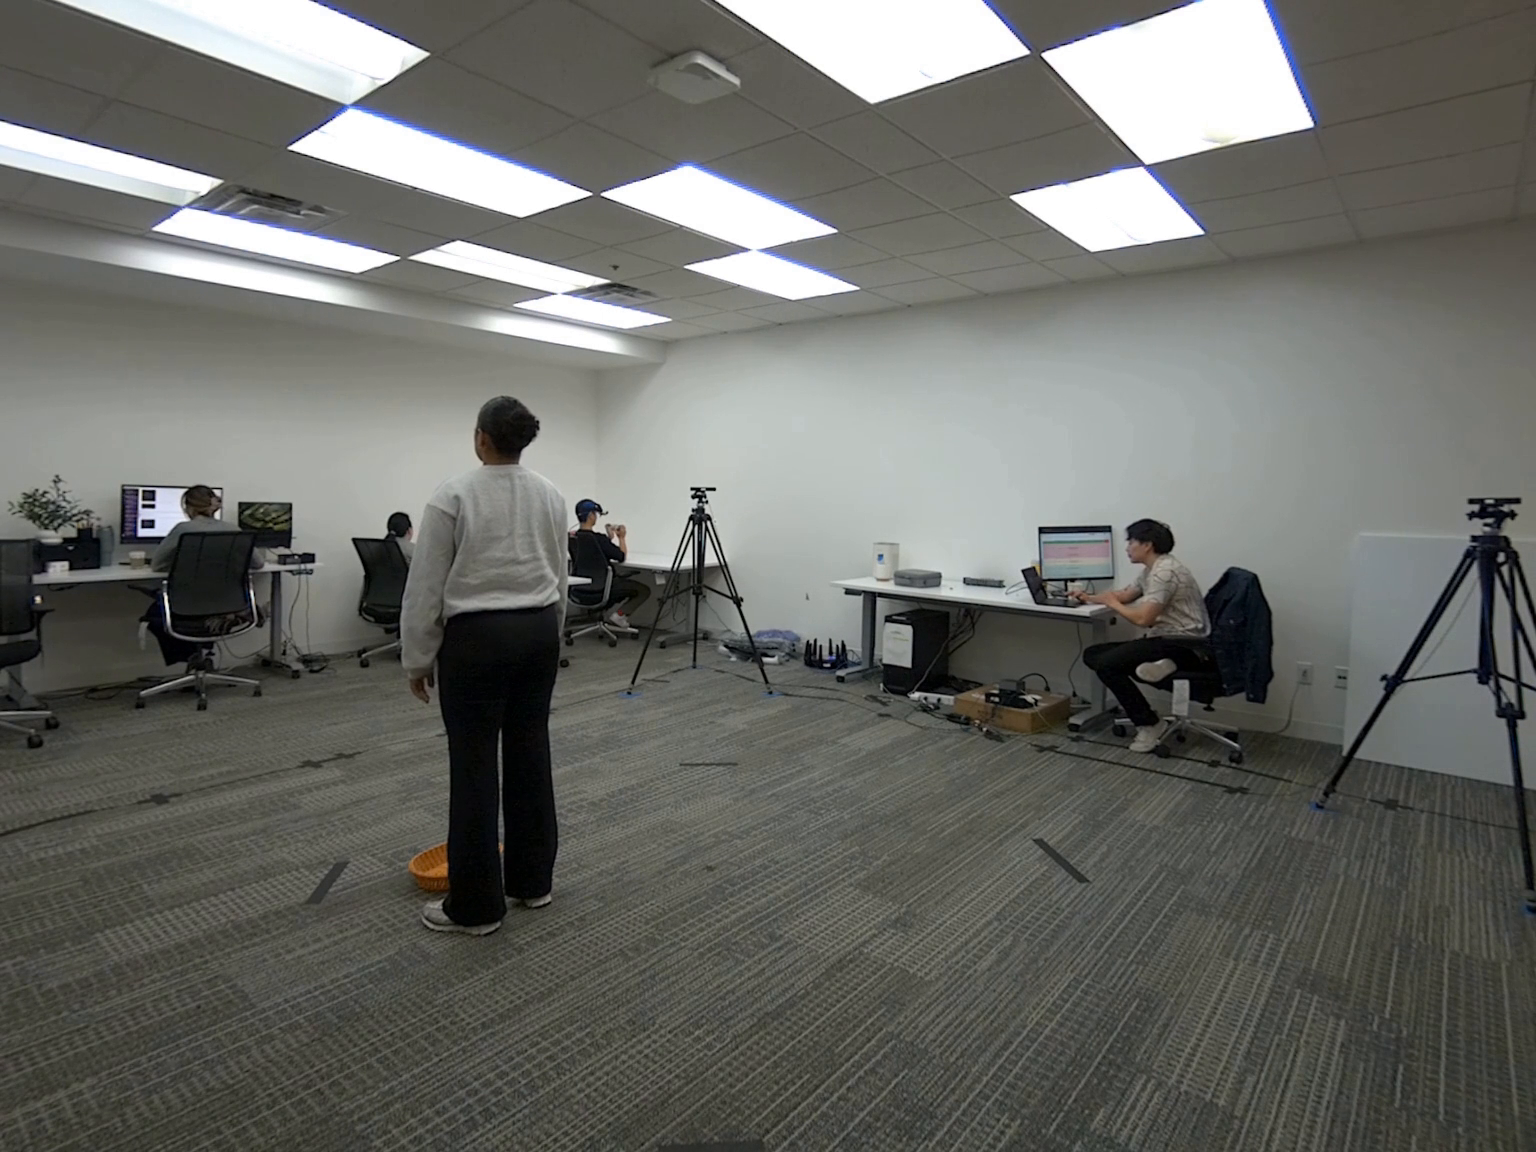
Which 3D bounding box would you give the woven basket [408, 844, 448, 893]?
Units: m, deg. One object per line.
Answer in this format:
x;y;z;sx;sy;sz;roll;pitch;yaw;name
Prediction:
-1.114;1.021;3.020;0.260;0.073;0.341;5;6;30;woven basket
